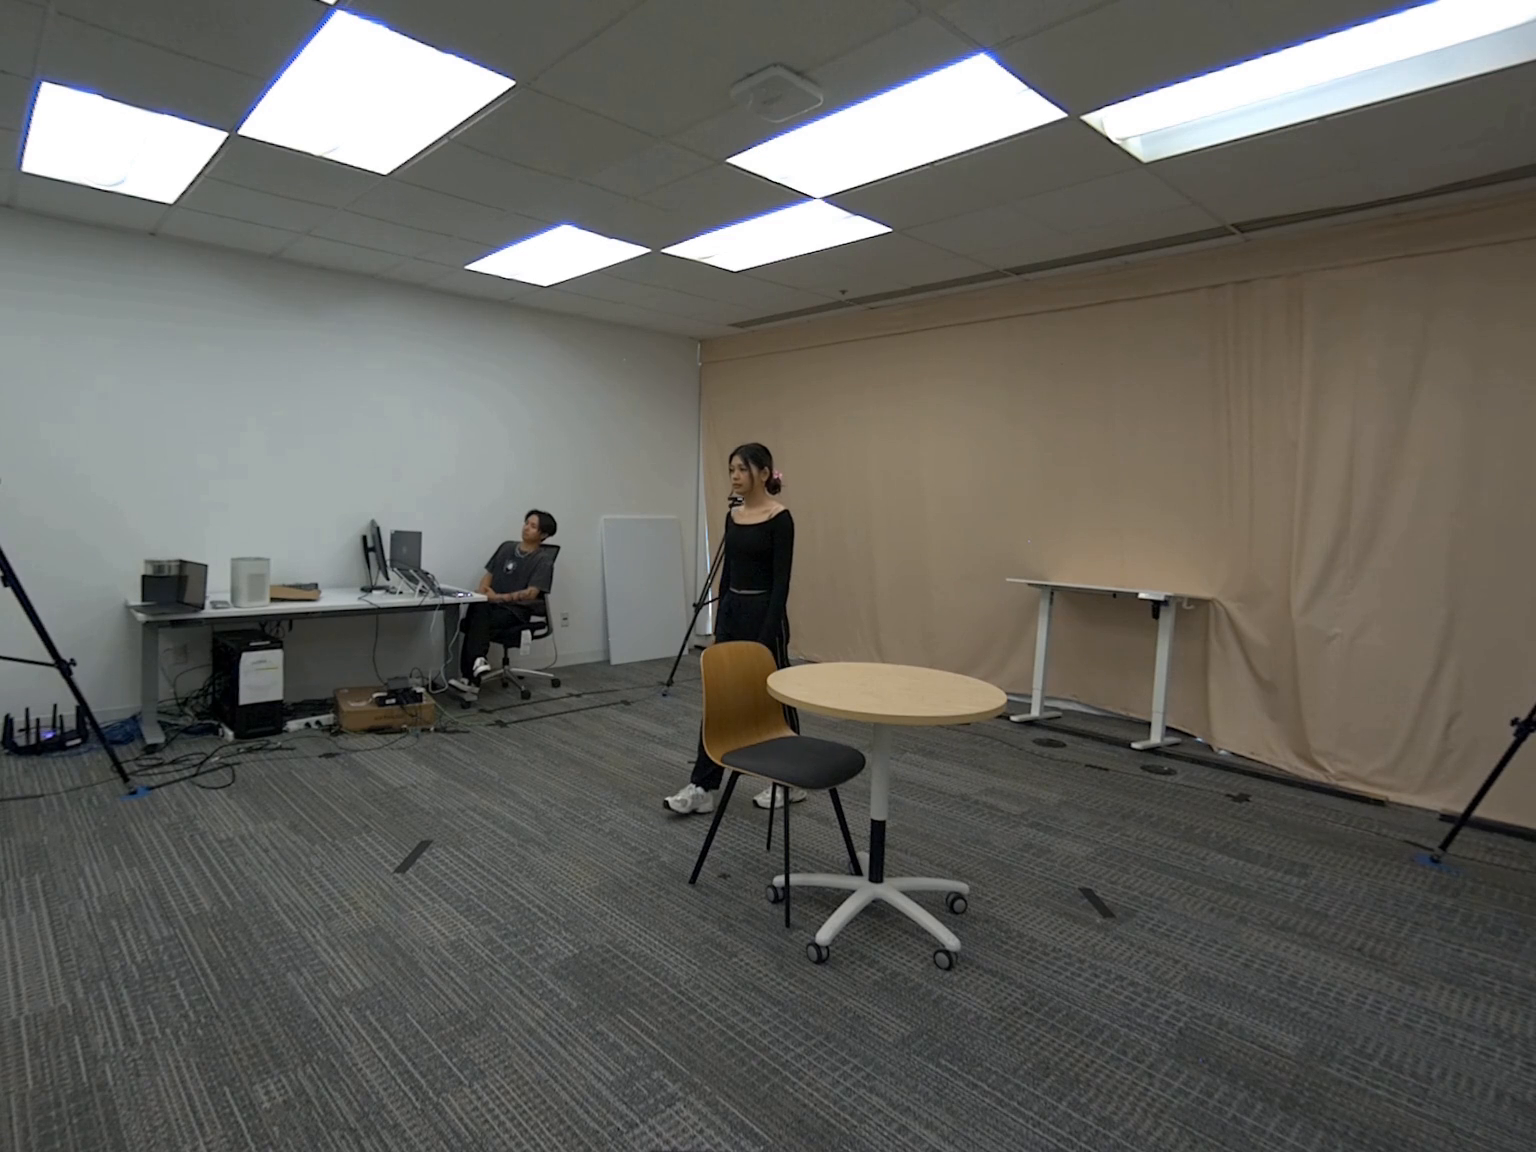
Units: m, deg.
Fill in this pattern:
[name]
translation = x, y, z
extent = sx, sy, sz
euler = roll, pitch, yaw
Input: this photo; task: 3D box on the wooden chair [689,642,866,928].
[wooden chair]
translation = 0.044, 0.691, 3.009
extent = 0.535, 0.877, 0.467
euler = -1, 0, 41
